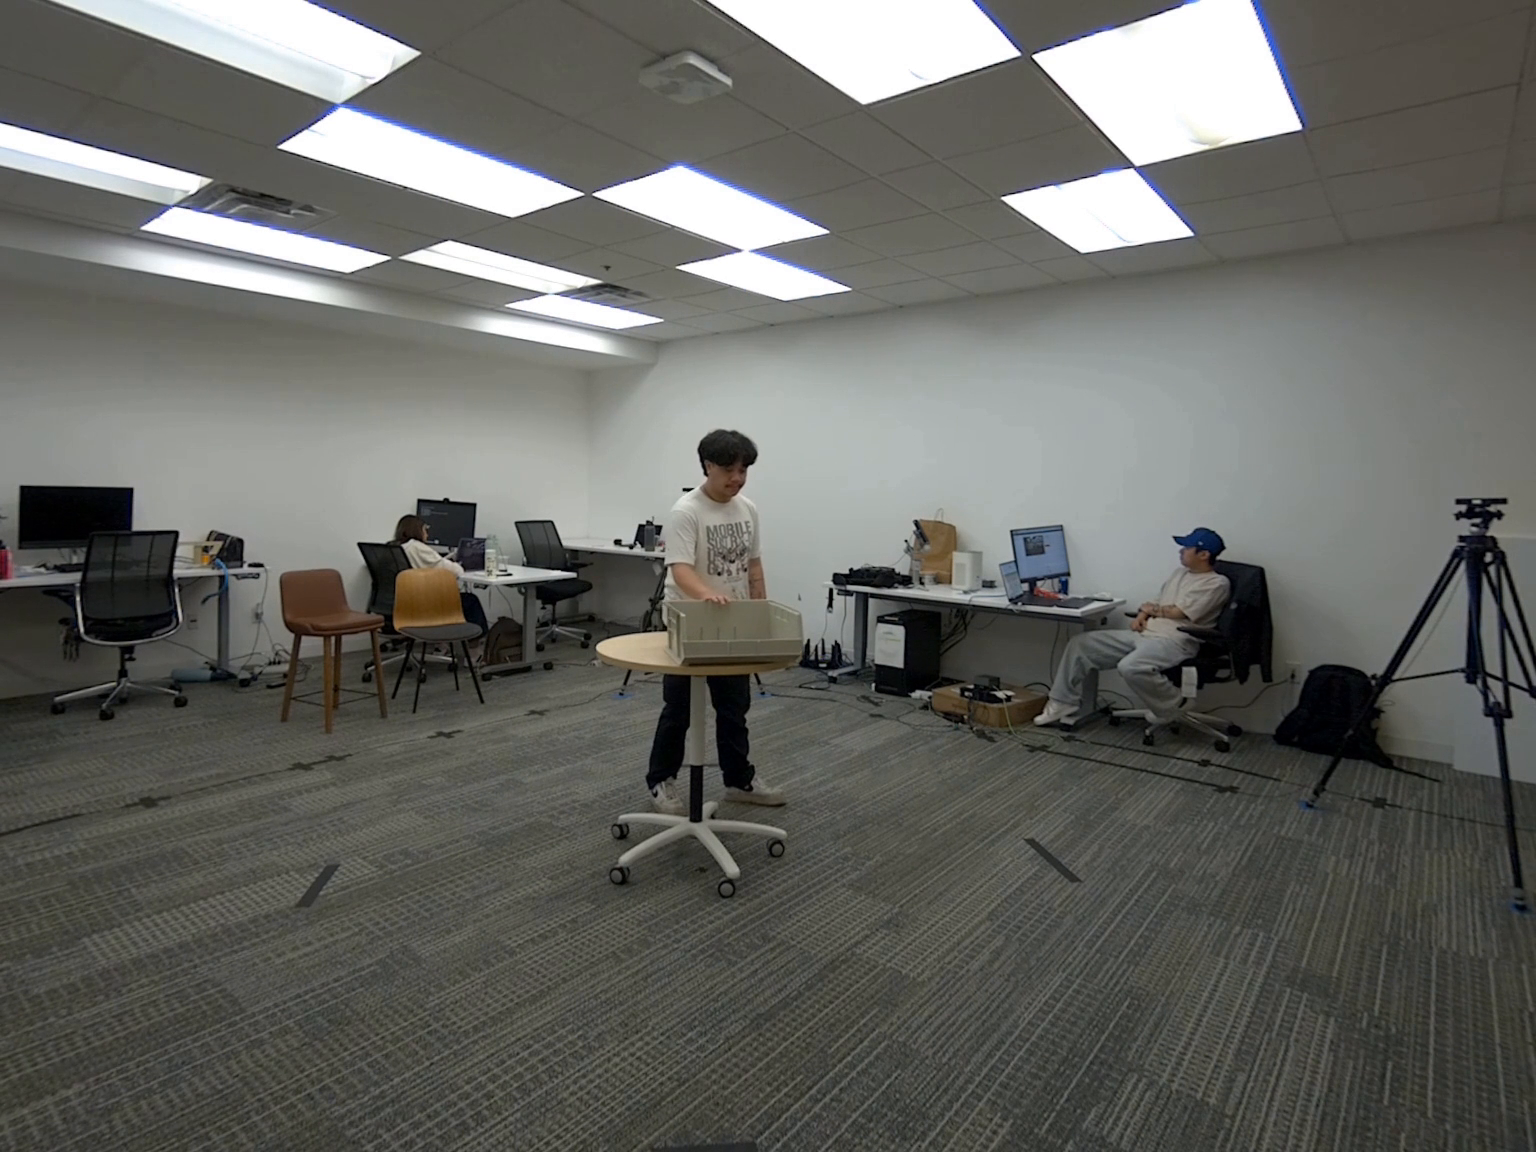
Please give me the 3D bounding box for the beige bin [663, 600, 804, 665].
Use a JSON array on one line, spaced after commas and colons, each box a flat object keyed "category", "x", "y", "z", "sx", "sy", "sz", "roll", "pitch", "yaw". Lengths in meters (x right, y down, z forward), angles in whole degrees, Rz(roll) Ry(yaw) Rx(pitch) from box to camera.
[{"category": "beige bin", "x": -0.138, "y": 0.196, "z": 2.986, "sx": 0.415, "sy": 0.188, "sz": 0.385, "roll": -1, "pitch": 4, "yaw": -16}]
